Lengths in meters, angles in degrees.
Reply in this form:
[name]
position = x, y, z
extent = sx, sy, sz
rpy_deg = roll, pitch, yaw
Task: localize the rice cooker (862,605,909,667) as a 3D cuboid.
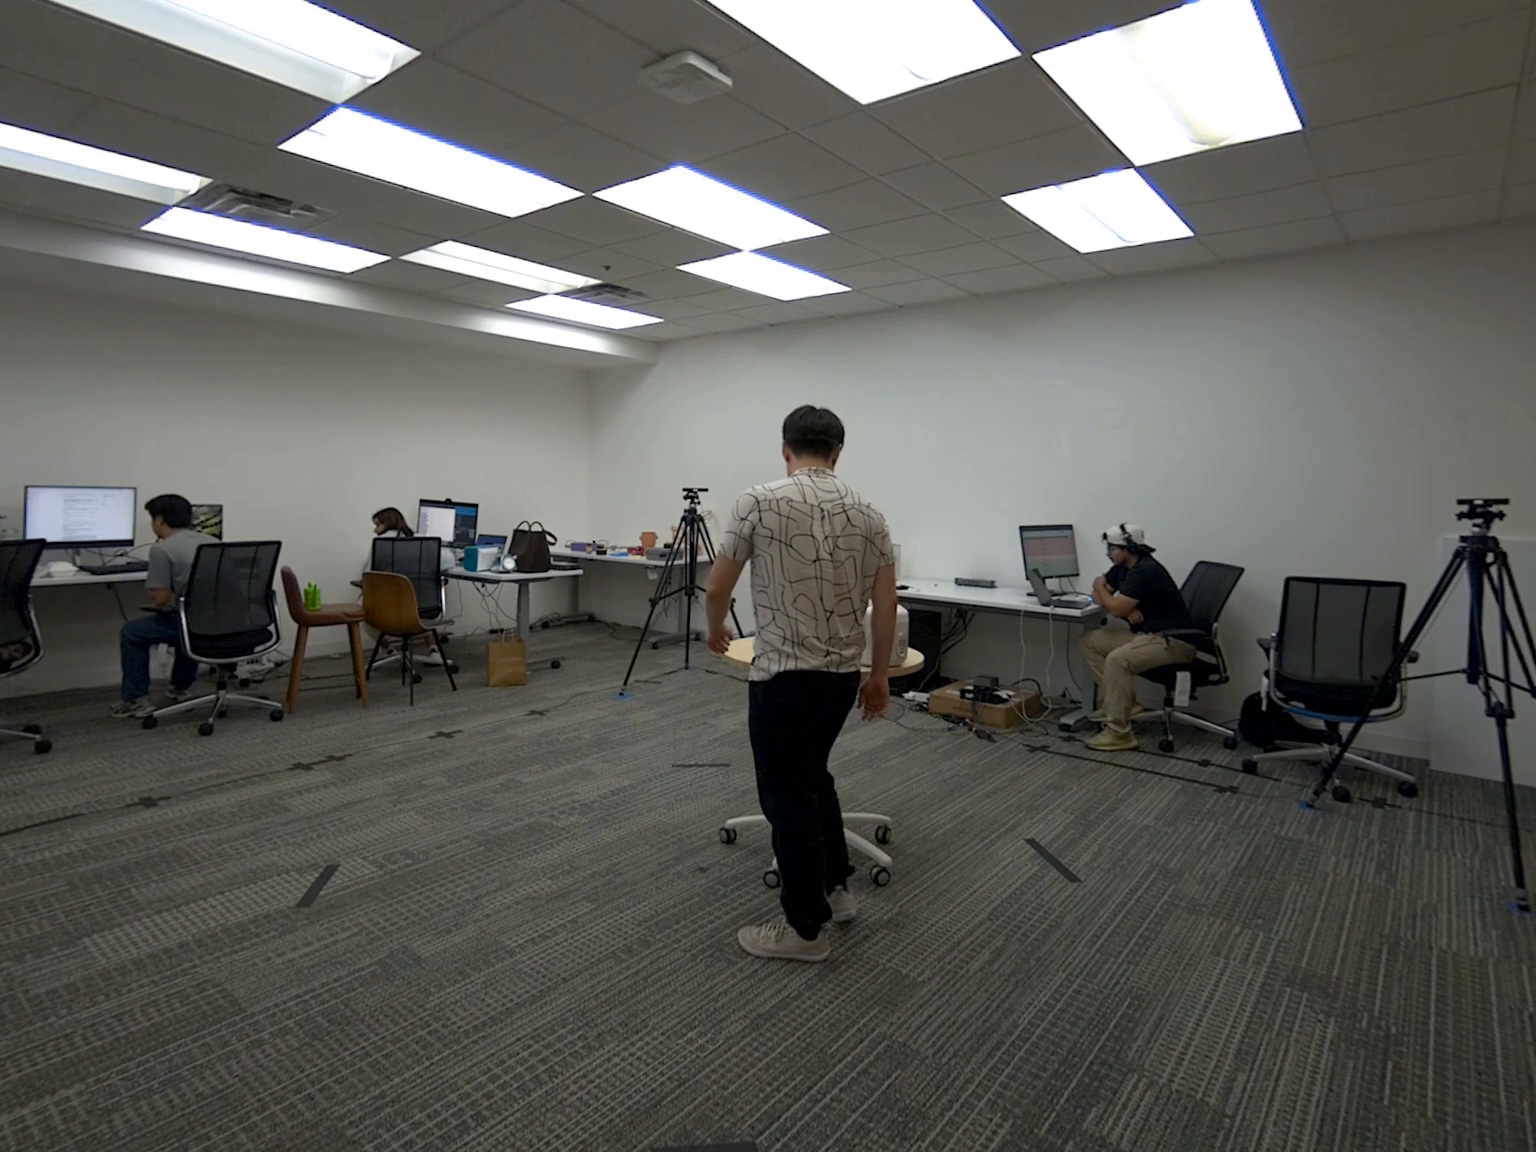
[rice cooker]
position = 0.388, 0.191, 3.017
extent = 0.214, 0.232, 0.225
rpy_deg = -4, 6, -41
